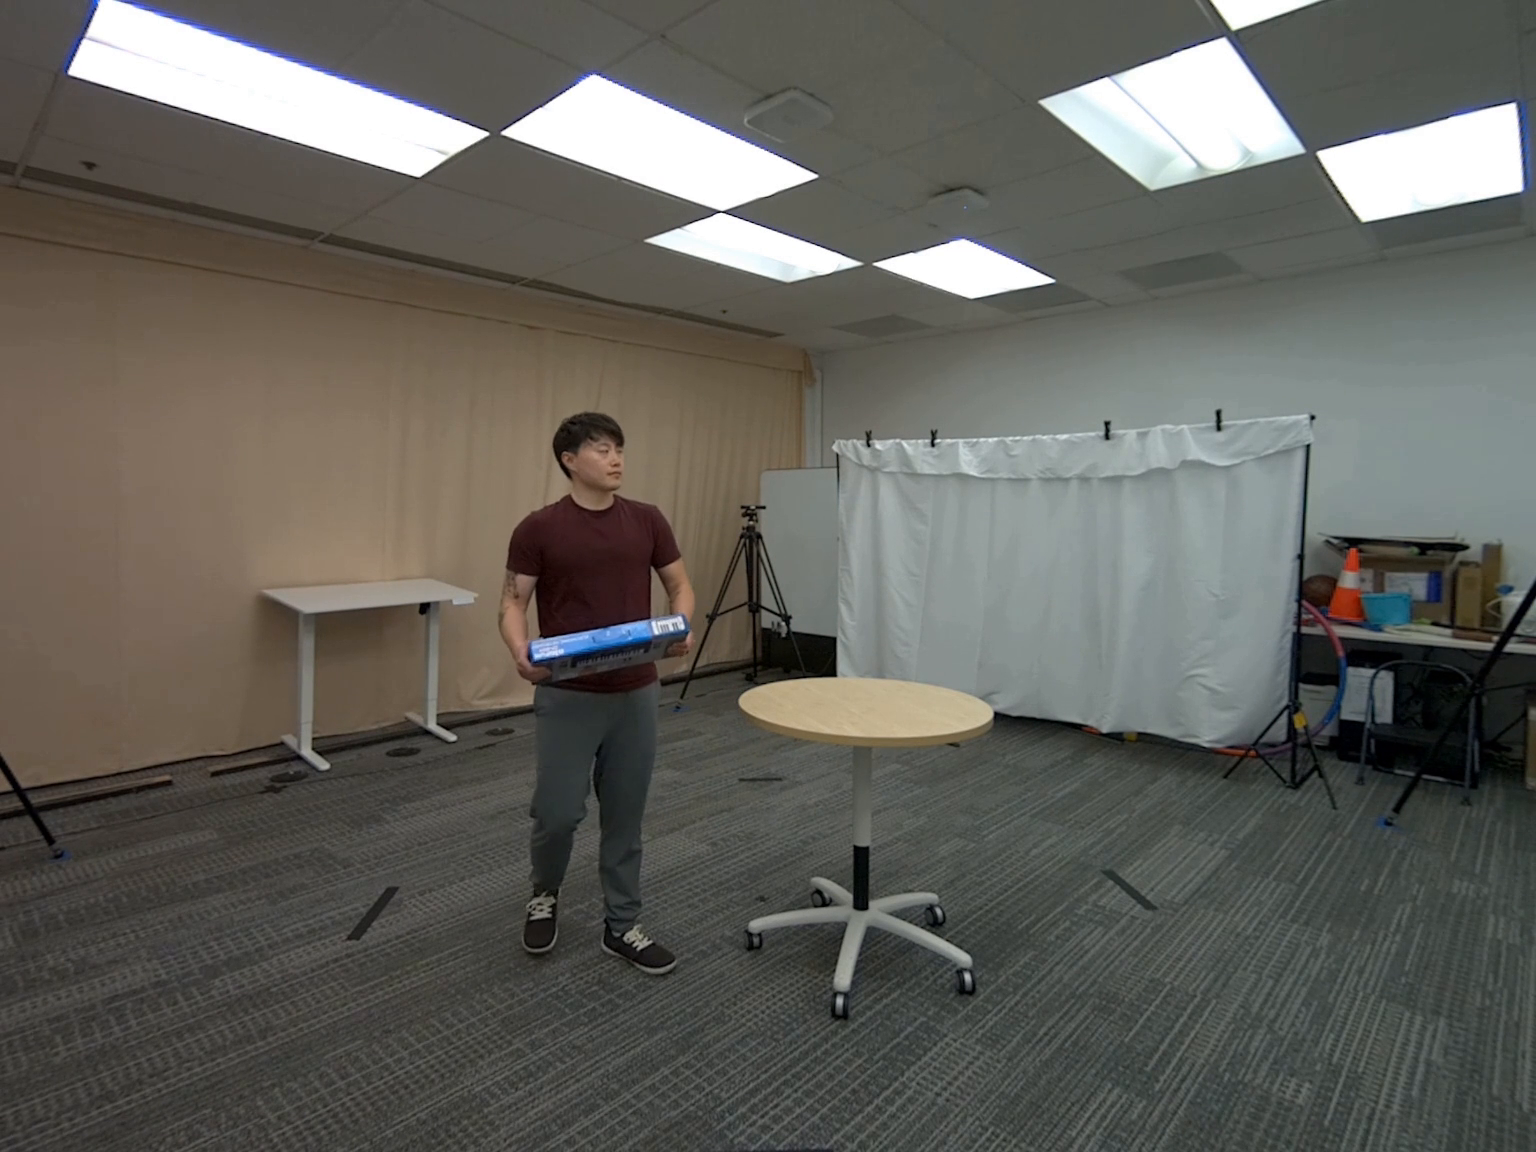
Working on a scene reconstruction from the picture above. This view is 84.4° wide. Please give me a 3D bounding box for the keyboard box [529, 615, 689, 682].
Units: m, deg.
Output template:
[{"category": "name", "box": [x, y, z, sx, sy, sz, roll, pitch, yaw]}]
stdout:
[{"category": "keyboard box", "box": [-0.451, 0.208, 2.371, 0.429, 0.060, 0.176, -11, -22, -21]}]
